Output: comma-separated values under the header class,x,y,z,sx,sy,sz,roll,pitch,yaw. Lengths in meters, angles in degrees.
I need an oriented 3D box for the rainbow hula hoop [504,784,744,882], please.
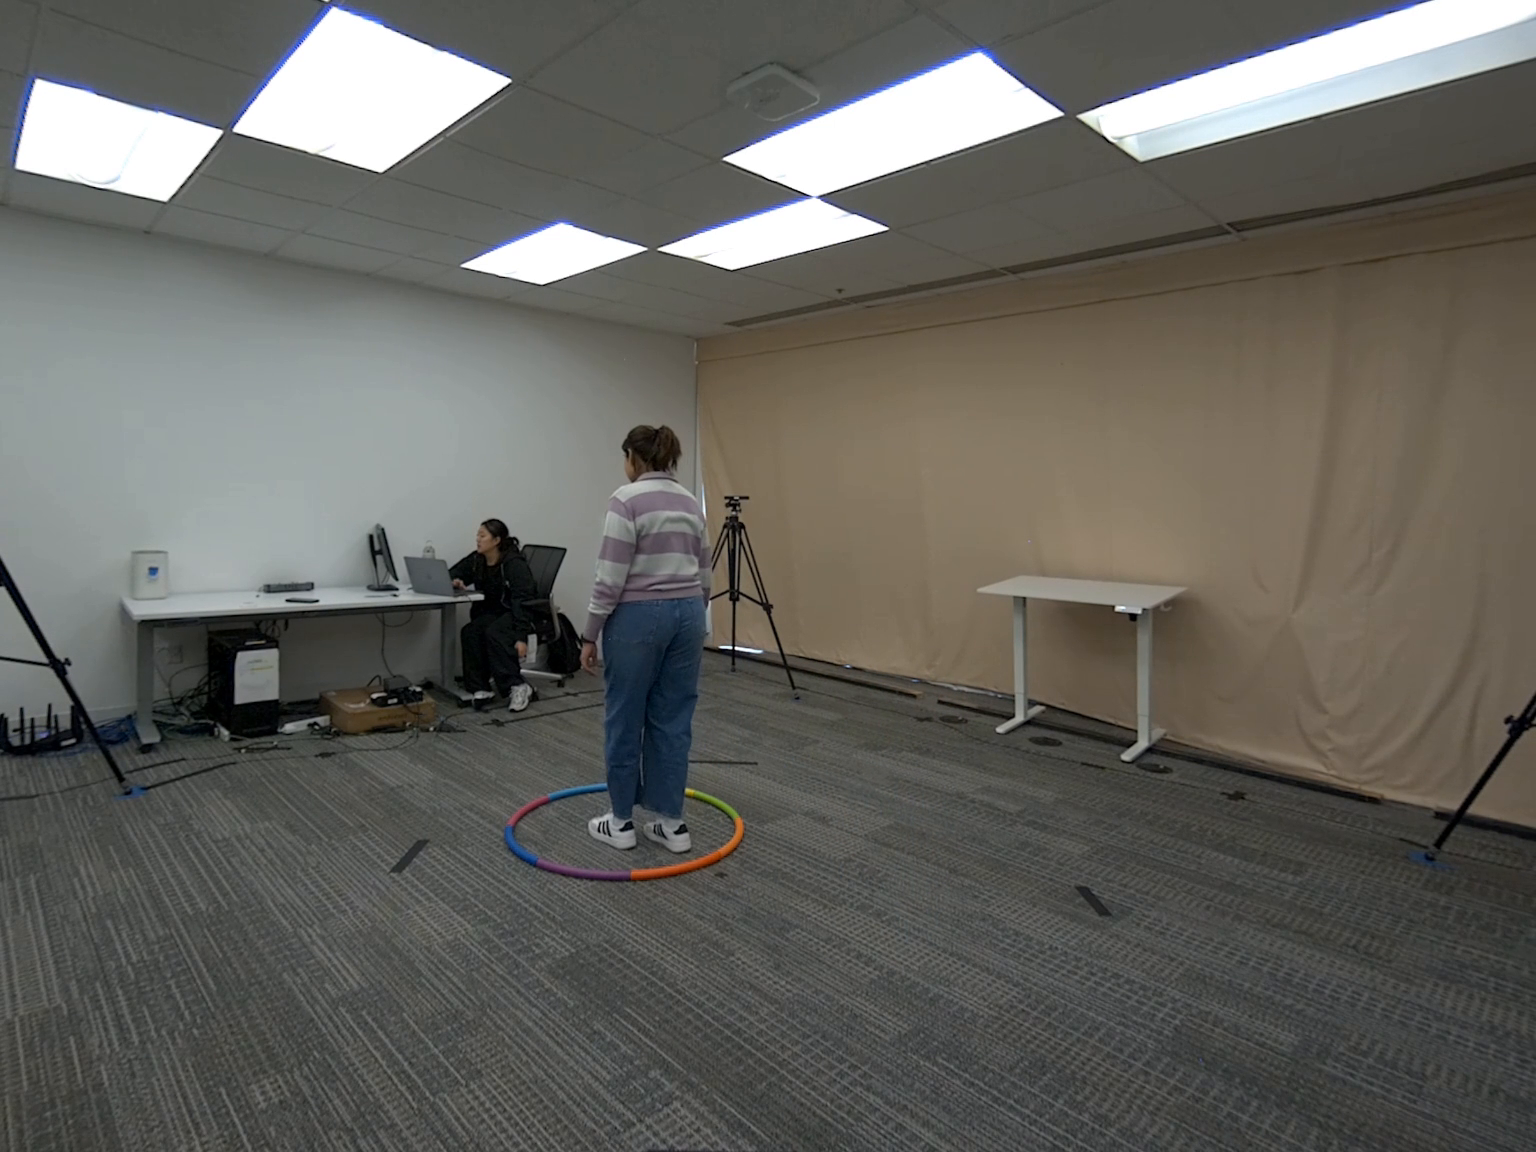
class,x,y,z,sx,sy,sz,roll,pitch,yaw
rainbow hula hoop,-0.596,1.027,3.516,0.978,0.035,0.982,1,5,-1
